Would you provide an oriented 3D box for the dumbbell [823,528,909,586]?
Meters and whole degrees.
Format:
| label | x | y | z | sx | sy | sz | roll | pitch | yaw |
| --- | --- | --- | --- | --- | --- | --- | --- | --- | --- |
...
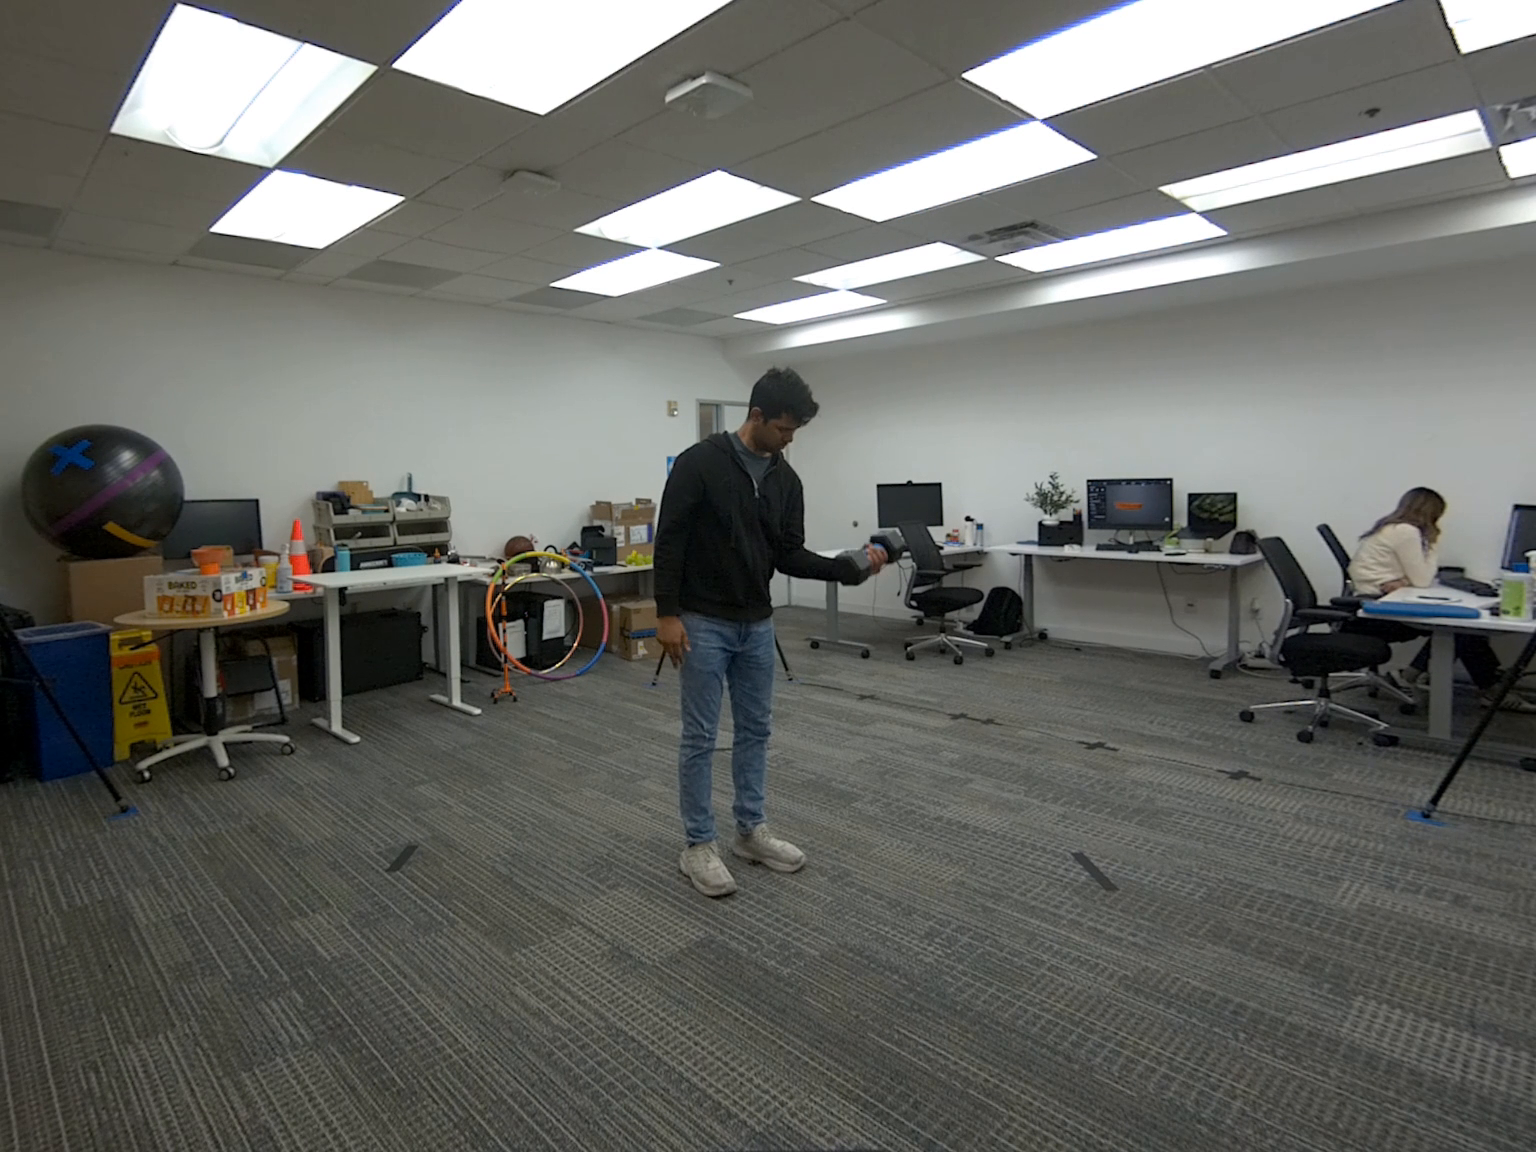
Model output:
| label | x | y | z | sx | sy | sz | roll | pitch | yaw |
| --- | --- | --- | --- | --- | --- | --- | --- | --- | --- |
| dumbbell | 0.328 | -0.061 | 2.886 | 0.112 | 0.120 | 0.289 | 32 | 39 | 28 |
